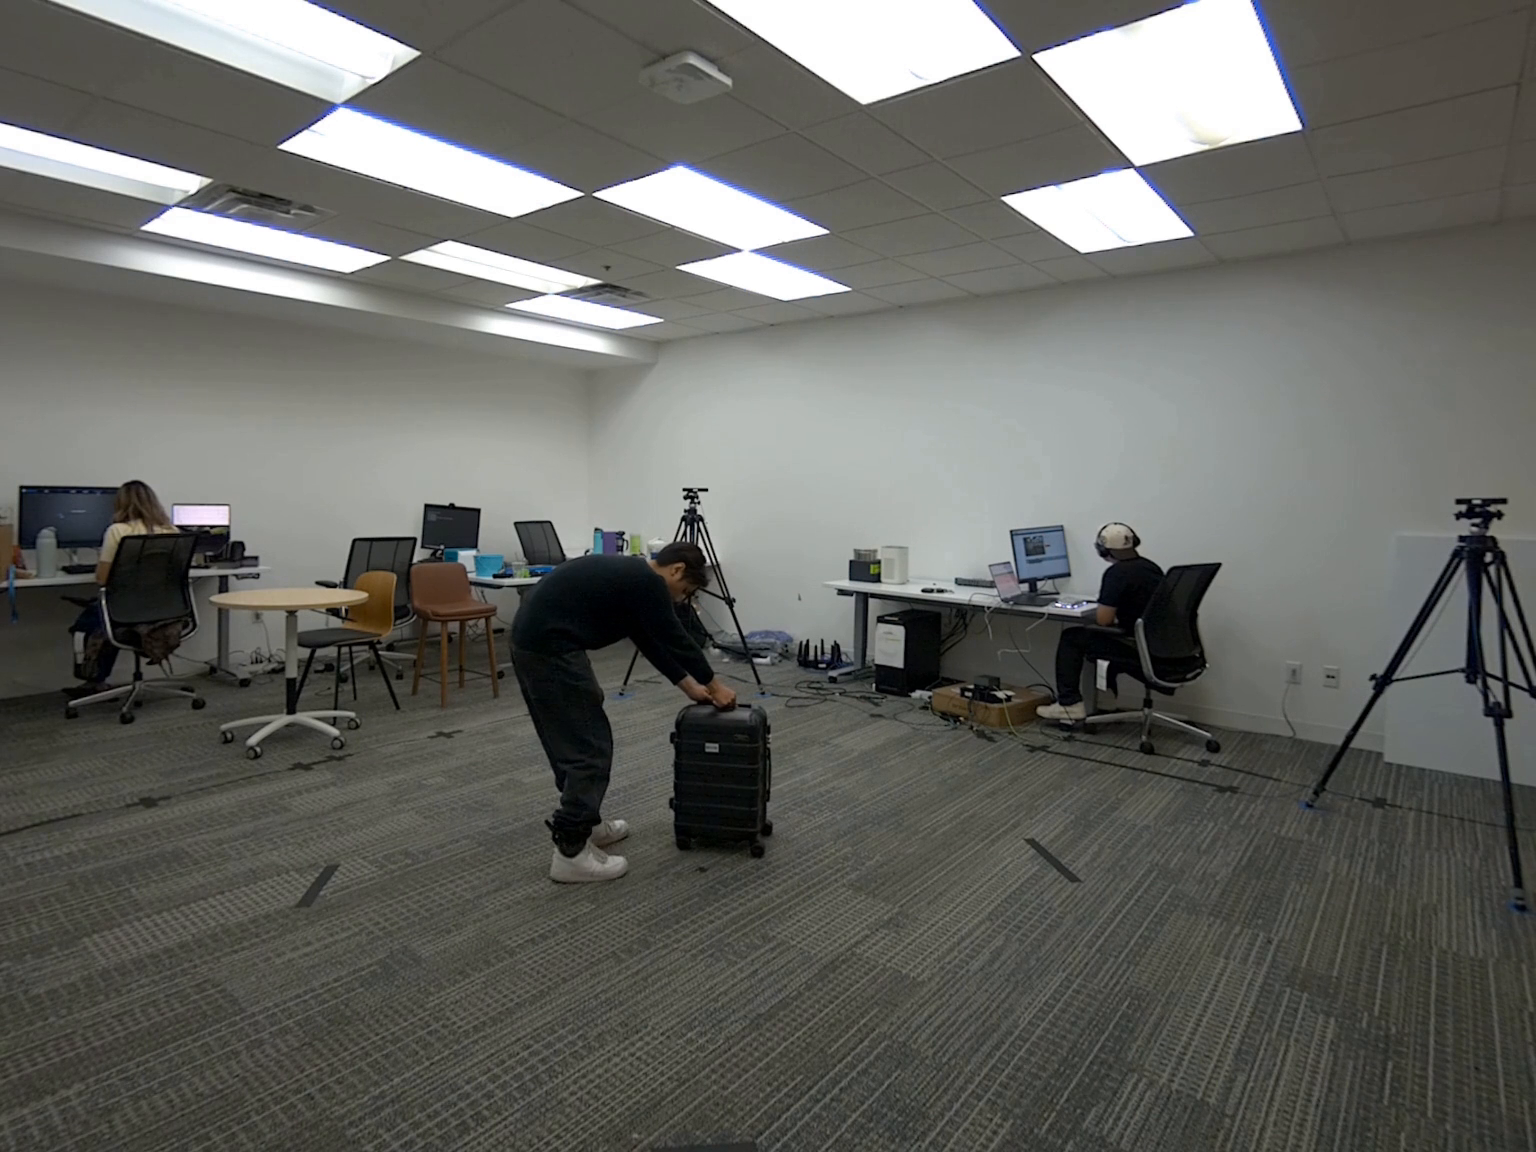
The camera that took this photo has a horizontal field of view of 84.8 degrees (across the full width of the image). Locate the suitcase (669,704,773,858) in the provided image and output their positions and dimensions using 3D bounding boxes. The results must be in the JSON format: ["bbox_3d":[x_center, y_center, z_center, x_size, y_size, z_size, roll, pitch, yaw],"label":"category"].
[{"bbox_3d":[-0.192,0.774,3.358,0.379,0.547,0.247,1,4,9],"label":"suitcase"}]
